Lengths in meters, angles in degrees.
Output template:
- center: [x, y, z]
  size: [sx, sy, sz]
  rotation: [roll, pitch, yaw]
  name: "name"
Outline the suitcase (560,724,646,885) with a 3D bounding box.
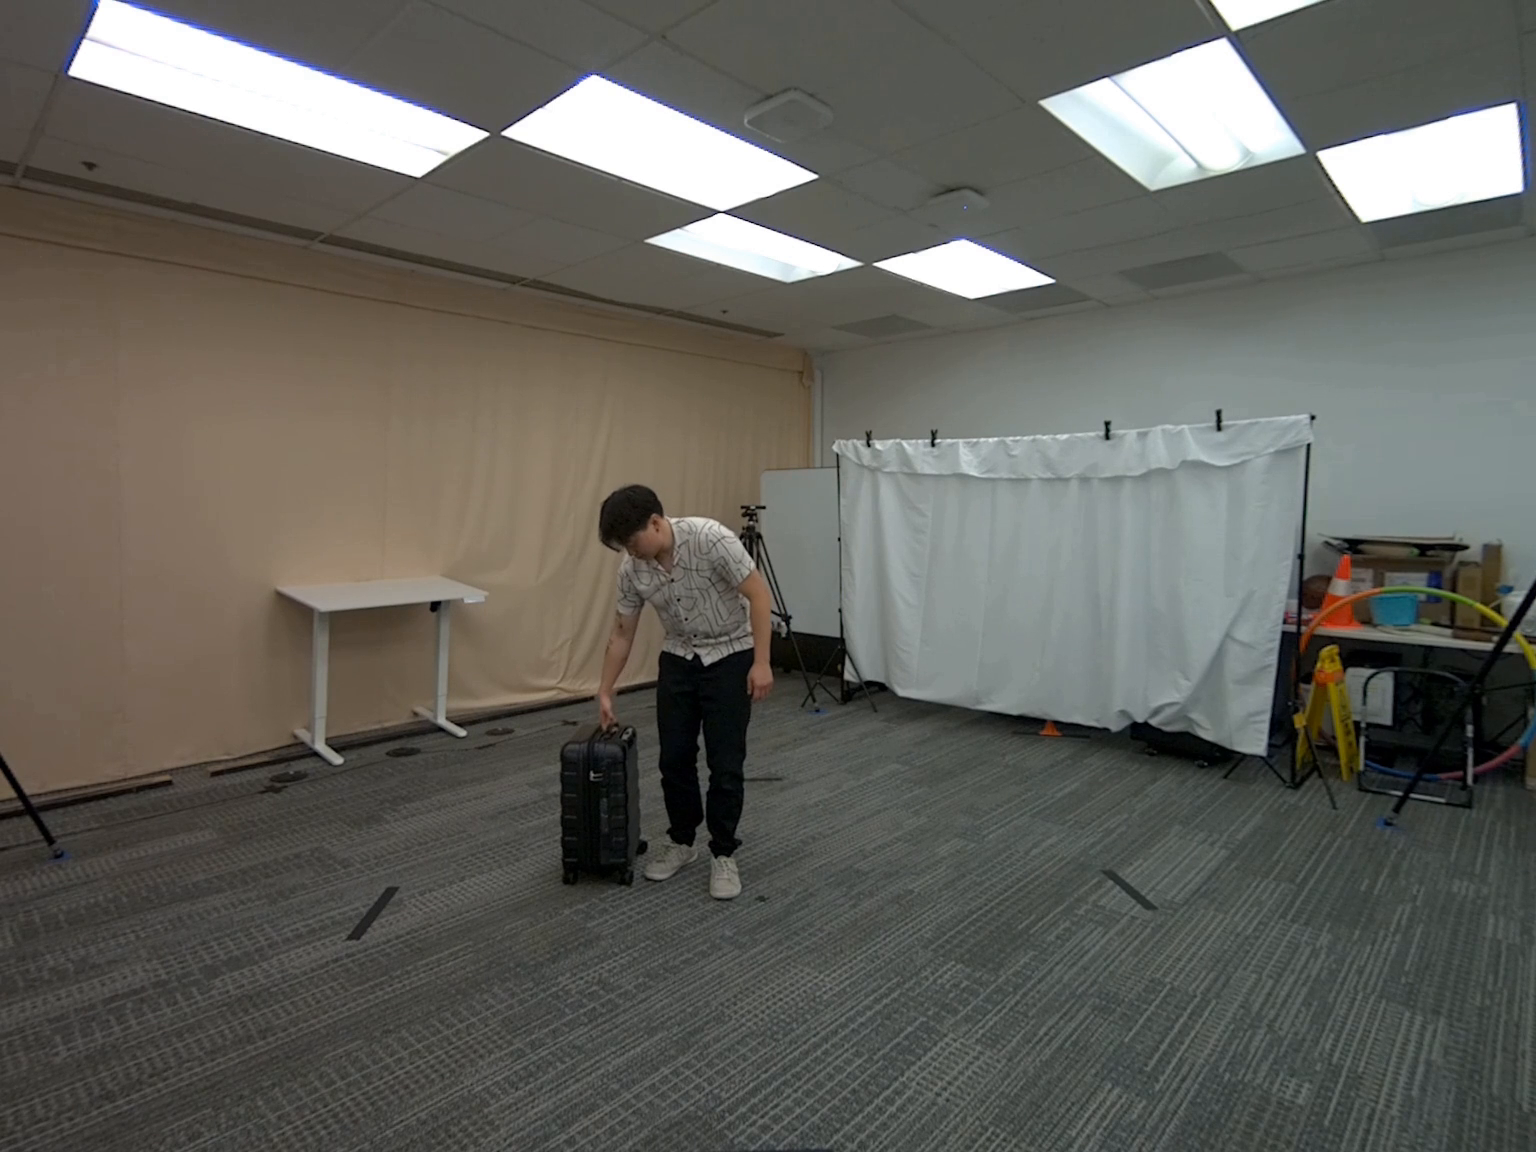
- center: [-0.632, 0.855, 3.228]
  size: [0.249, 0.548, 0.375]
  rotation: [-1, 4, 2]
  name: "suitcase"
